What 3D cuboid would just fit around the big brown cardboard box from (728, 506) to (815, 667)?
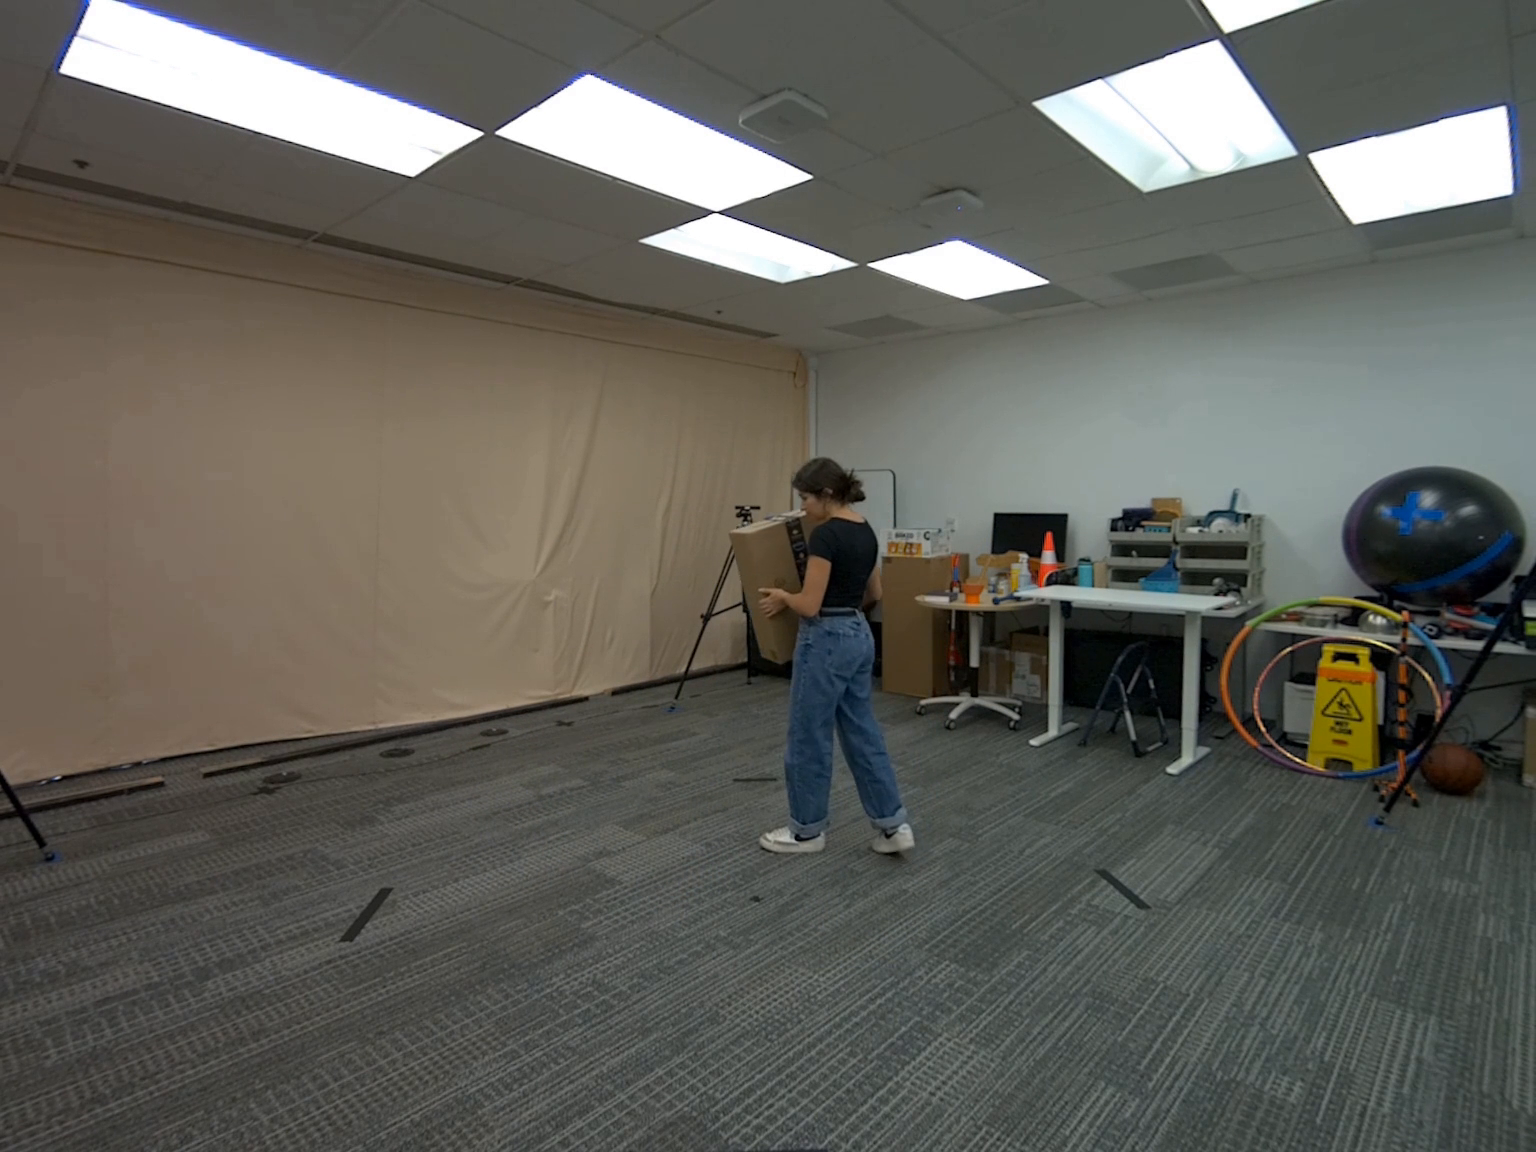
[{"bbox_3d":[0.129,0.021,3.597,0.411,0.585,0.238,-17,7,-19],"label":"big brown cardboard box"}]
